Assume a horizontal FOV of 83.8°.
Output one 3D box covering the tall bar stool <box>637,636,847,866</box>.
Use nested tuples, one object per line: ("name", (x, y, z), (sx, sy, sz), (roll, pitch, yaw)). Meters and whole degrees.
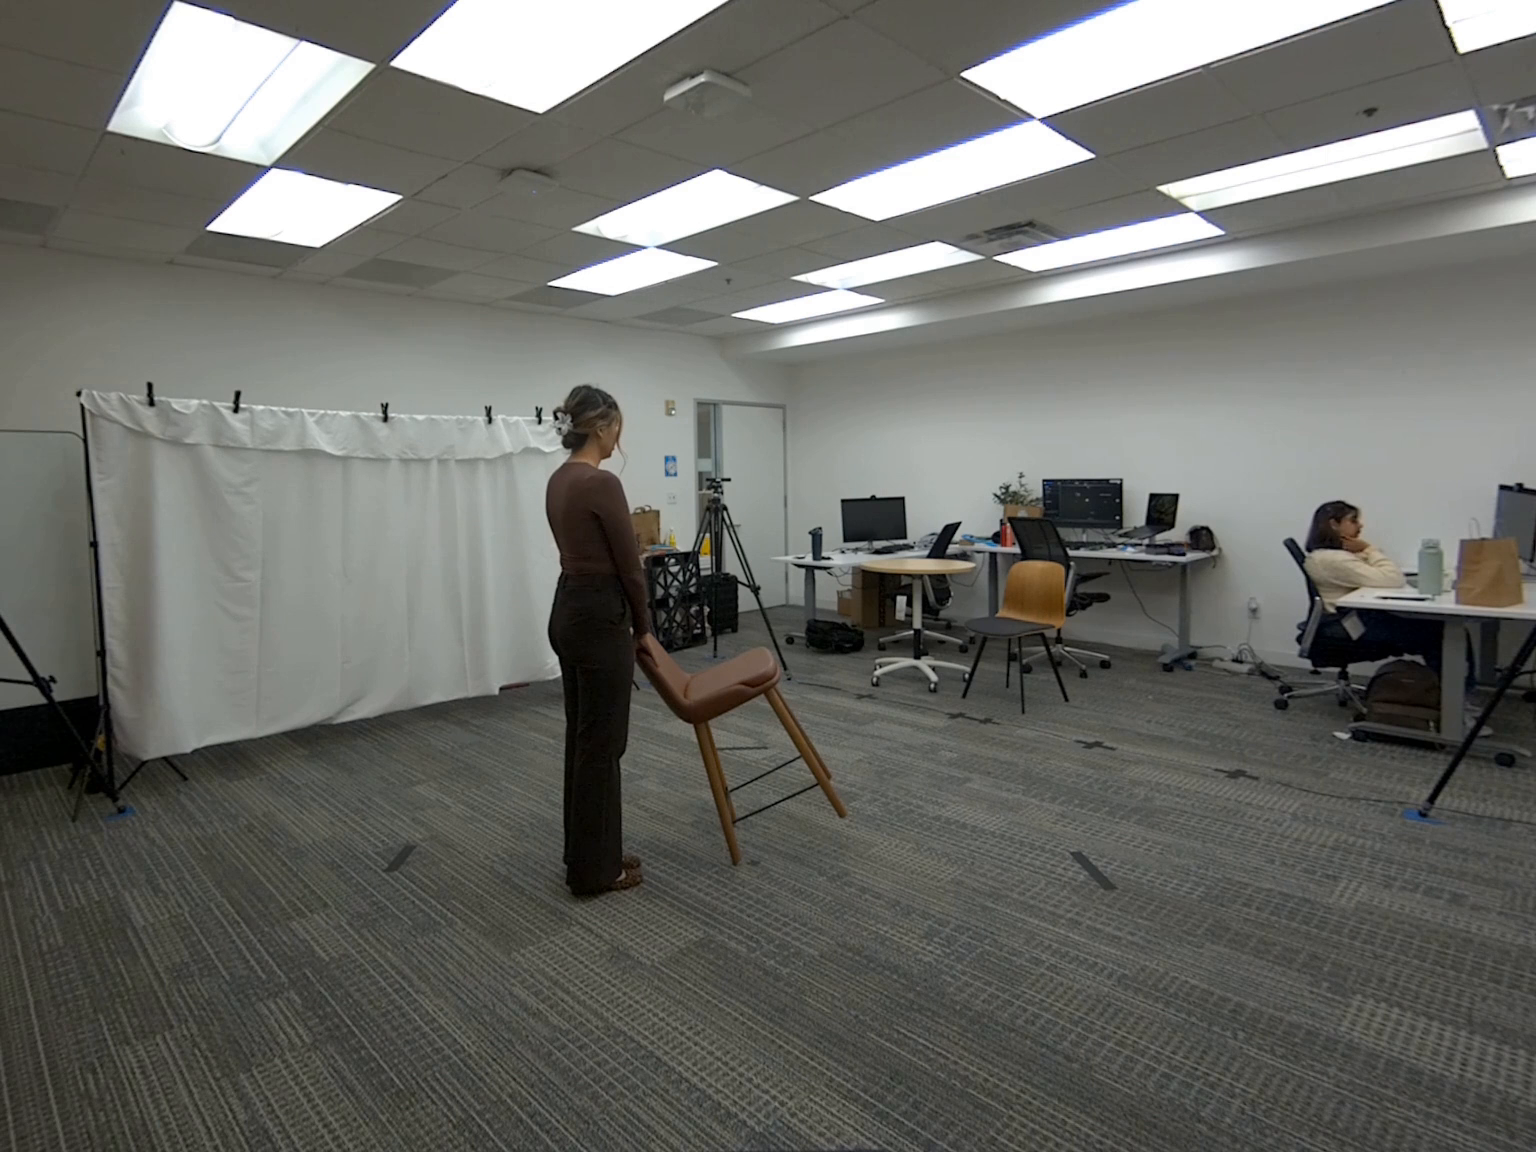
("tall bar stool", (-0.121, 0.544, 3.247), (0.467, 0.885, 0.459), (-27, 4, 0))
